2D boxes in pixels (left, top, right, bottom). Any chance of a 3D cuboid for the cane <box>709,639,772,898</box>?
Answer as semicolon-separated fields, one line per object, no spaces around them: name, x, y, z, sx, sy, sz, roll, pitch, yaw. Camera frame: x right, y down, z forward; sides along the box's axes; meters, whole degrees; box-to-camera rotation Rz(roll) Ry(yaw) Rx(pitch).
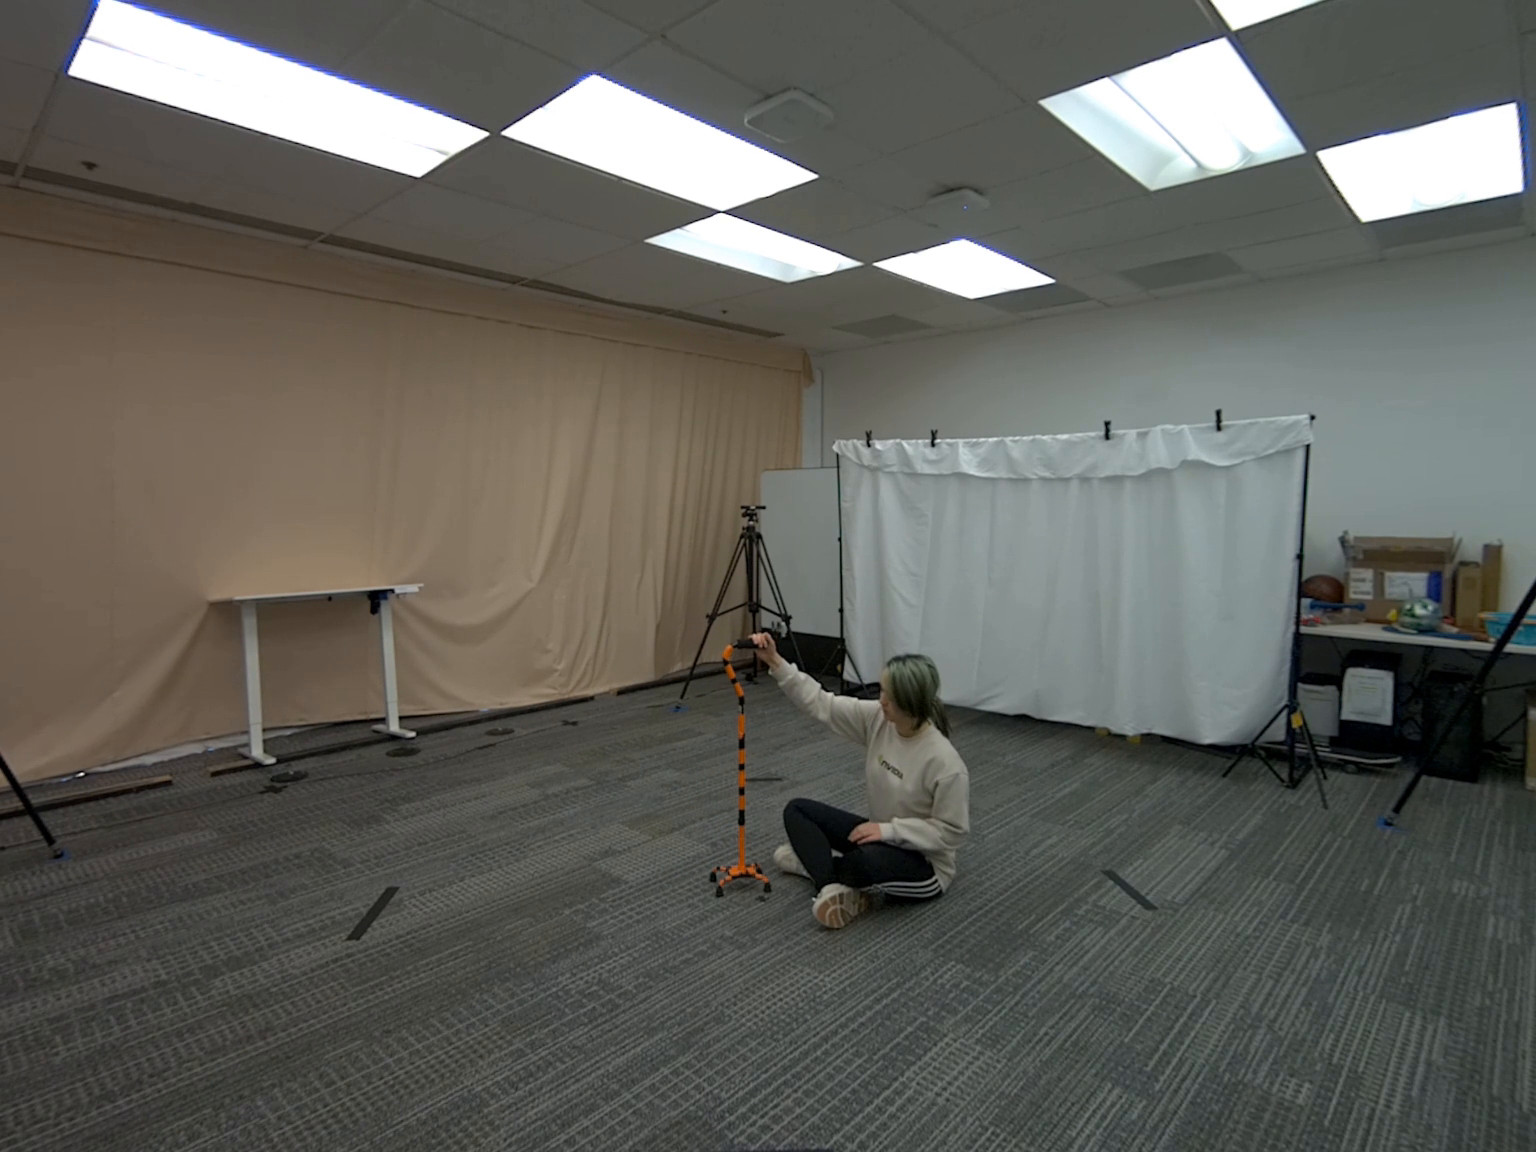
cane;-0.101;0.688;3.064;0.204;0.907;0.153;-1;1;-11
